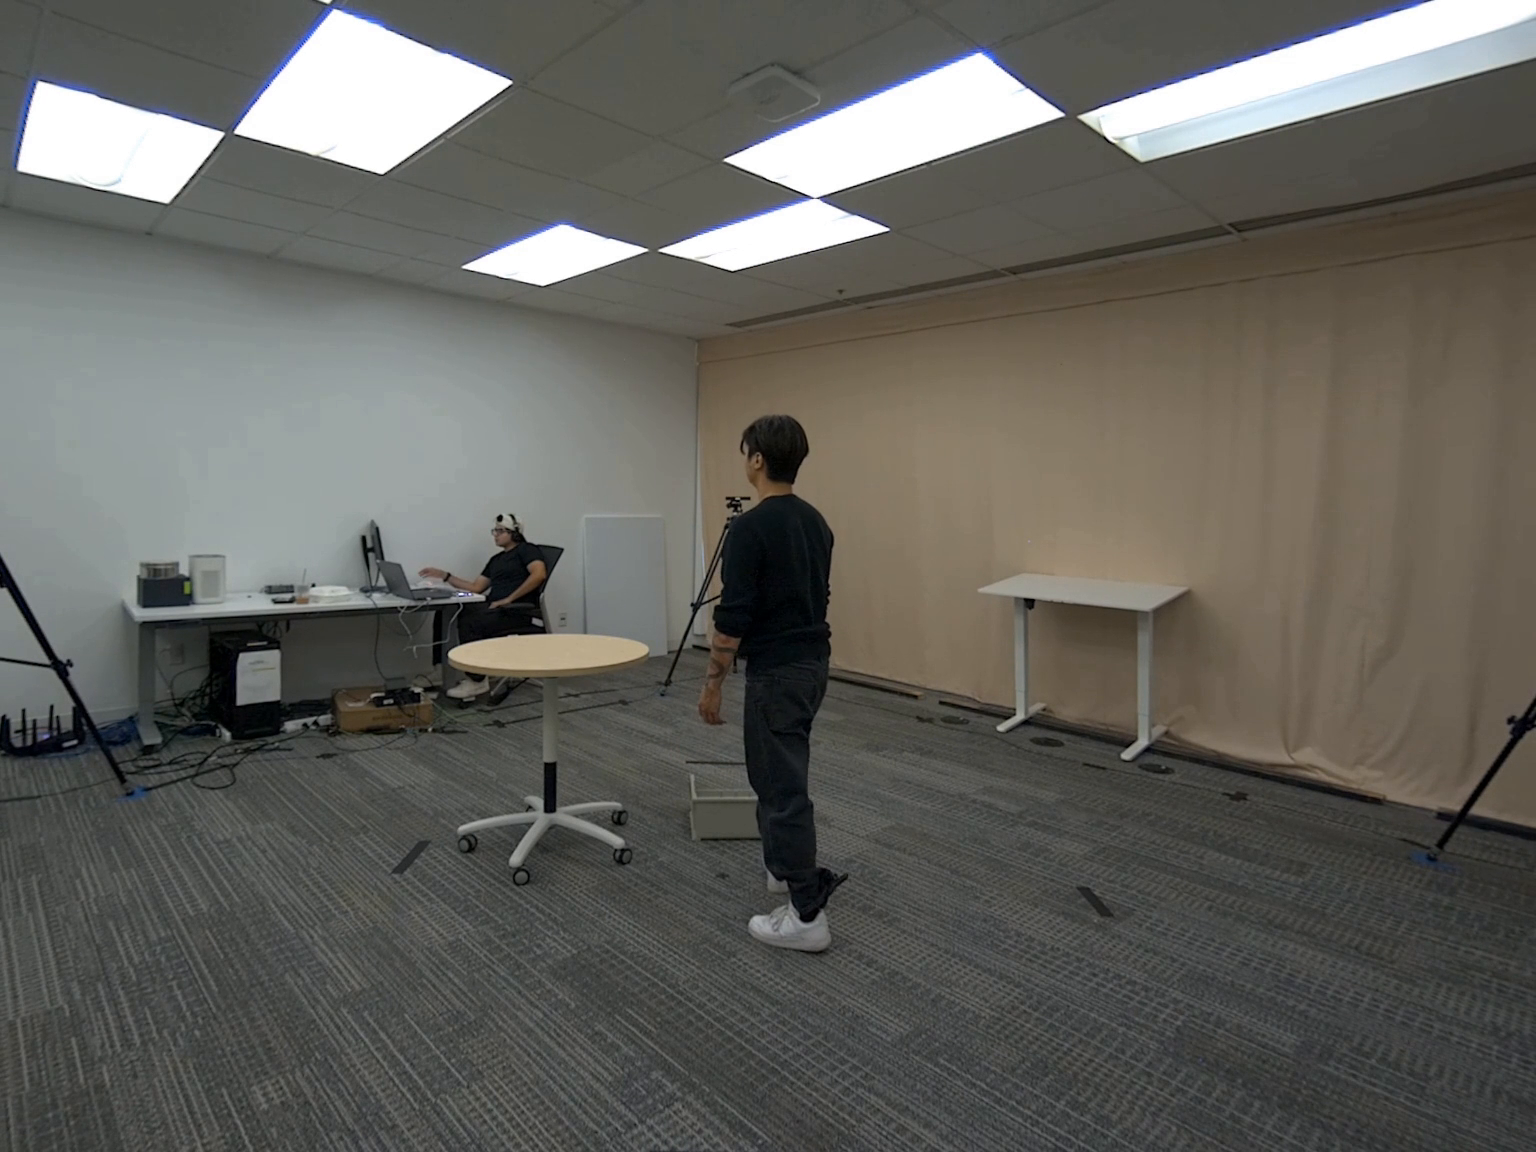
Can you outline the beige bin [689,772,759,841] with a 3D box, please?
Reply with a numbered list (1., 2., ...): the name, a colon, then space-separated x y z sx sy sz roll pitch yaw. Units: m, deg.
1. beige bin: -0.133 0.987 3.620 0.420 0.188 0.380 2 5 -6
